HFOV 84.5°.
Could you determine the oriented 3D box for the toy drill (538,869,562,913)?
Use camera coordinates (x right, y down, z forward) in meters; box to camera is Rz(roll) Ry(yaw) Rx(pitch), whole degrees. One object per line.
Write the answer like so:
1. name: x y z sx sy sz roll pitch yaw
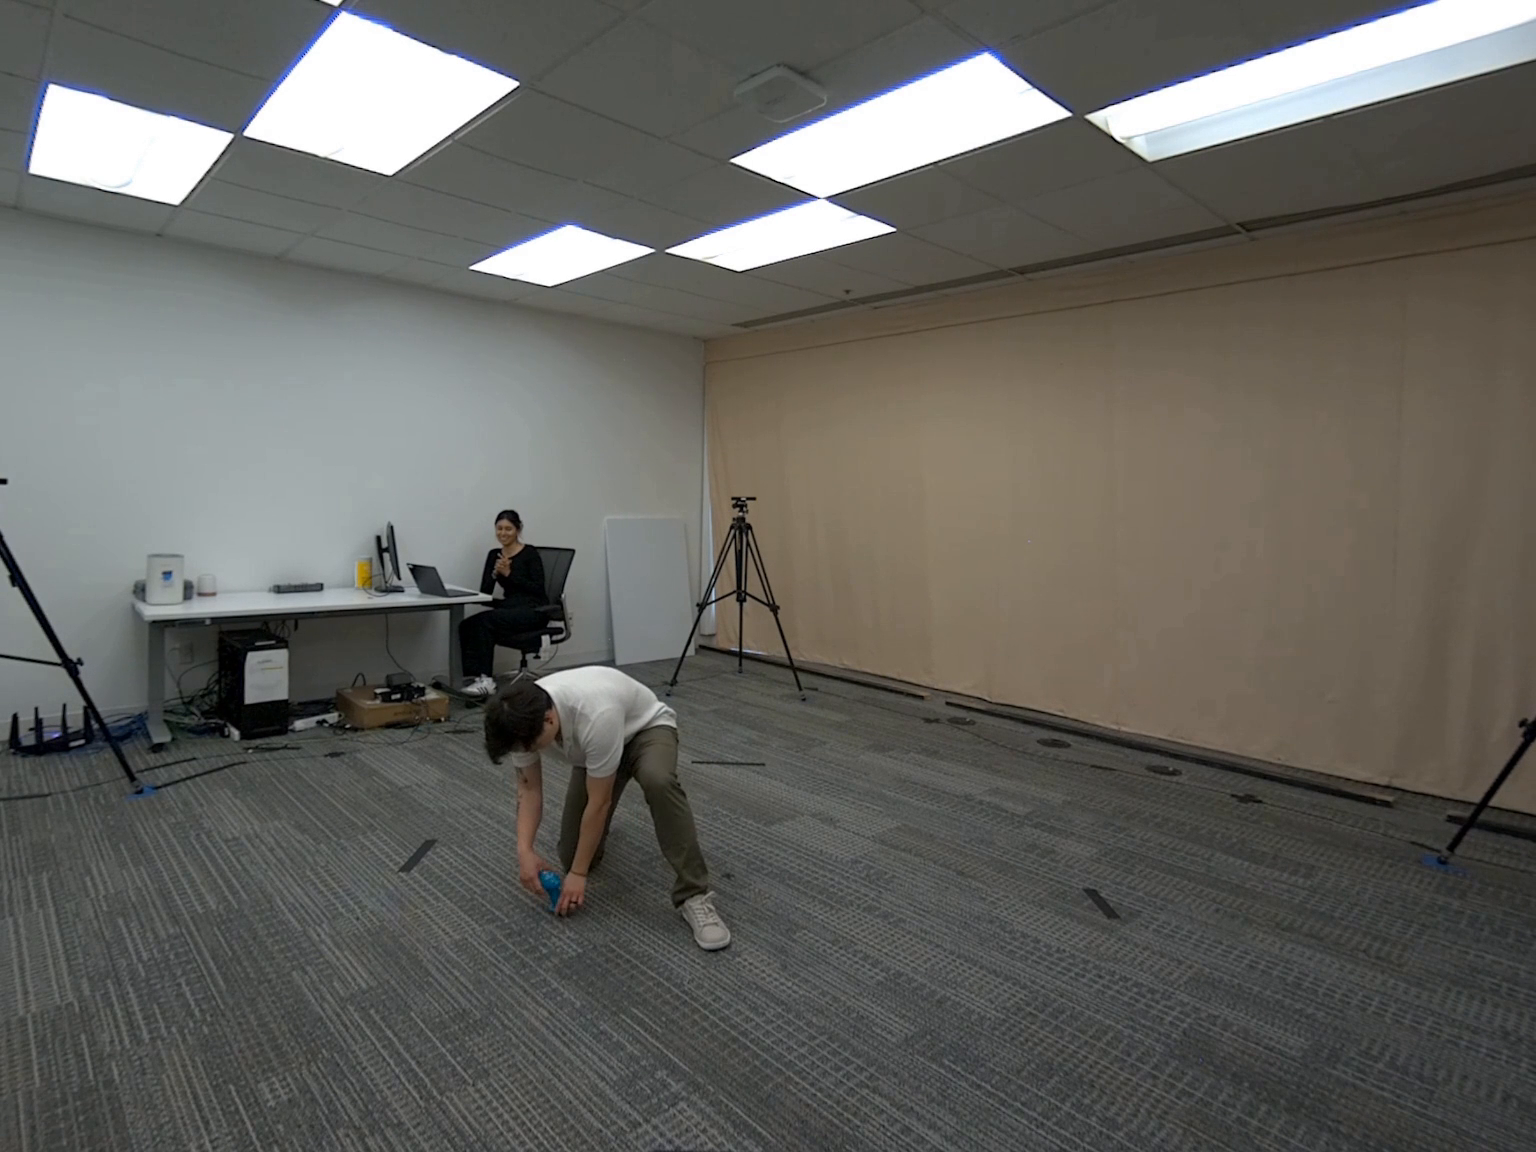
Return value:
1. toy drill: -0.747 1.038 2.826 0.060 0.144 0.174 -27 19 -37
